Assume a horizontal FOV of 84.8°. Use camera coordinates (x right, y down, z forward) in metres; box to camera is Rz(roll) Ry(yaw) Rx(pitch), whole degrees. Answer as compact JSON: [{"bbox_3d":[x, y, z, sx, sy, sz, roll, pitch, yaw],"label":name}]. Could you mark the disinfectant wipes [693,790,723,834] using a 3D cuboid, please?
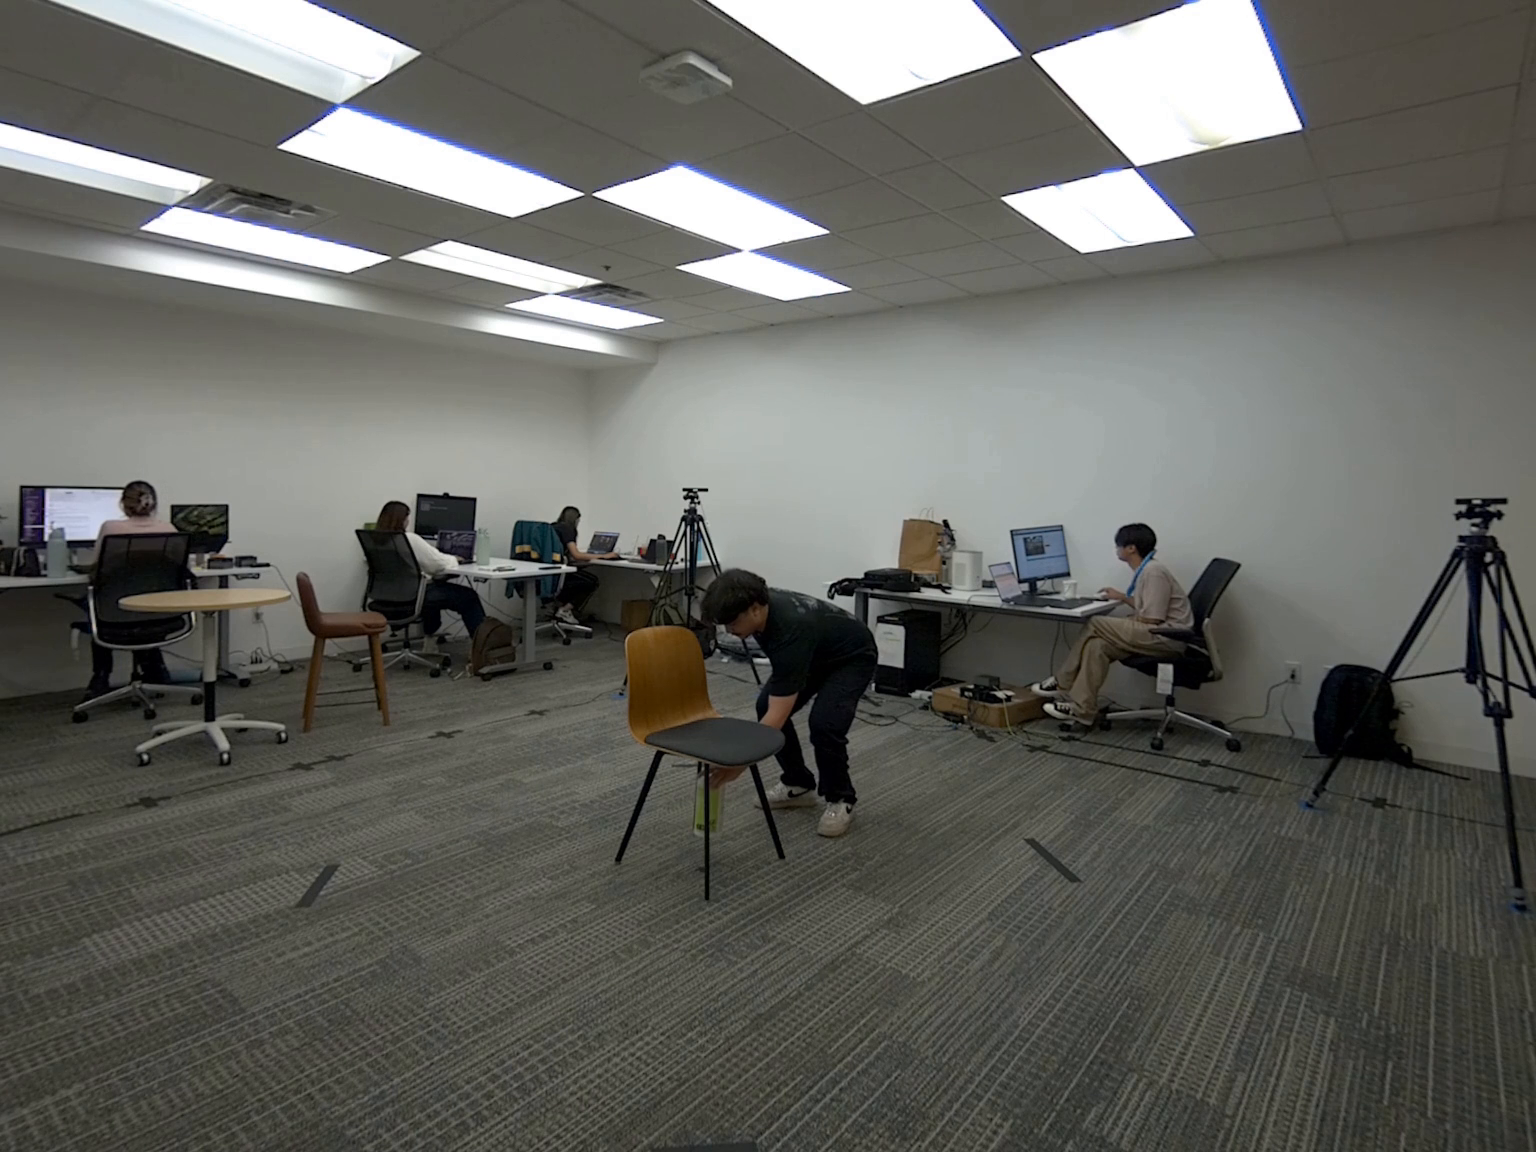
[{"bbox_3d":[-0.237,0.871,3.241,0.118,0.218,0.118,5,-2,-2],"label":"disinfectant wipes"}]
